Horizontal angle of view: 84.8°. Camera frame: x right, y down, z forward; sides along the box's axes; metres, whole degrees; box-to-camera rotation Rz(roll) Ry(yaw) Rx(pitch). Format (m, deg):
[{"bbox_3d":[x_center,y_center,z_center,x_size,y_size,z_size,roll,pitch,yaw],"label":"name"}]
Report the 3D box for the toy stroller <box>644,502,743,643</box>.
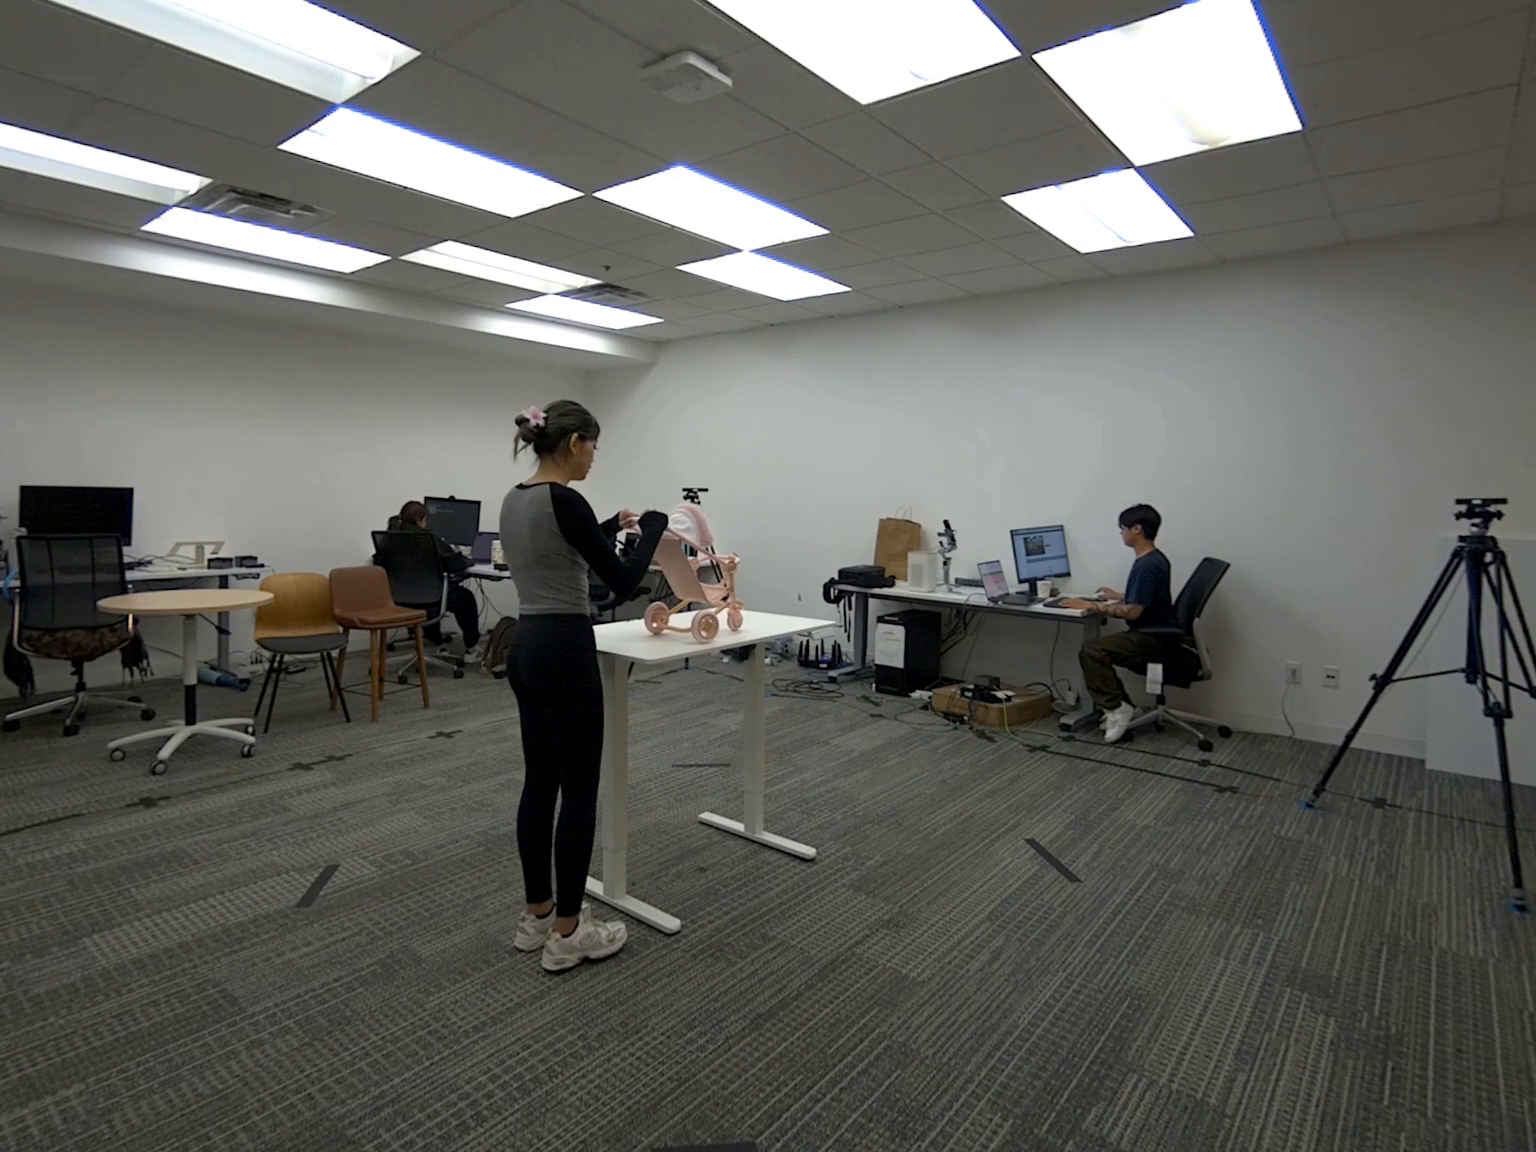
[{"bbox_3d":[-0.266,-0.016,2.898,0.335,0.526,0.291,-24,18,-37],"label":"toy stroller"}]
